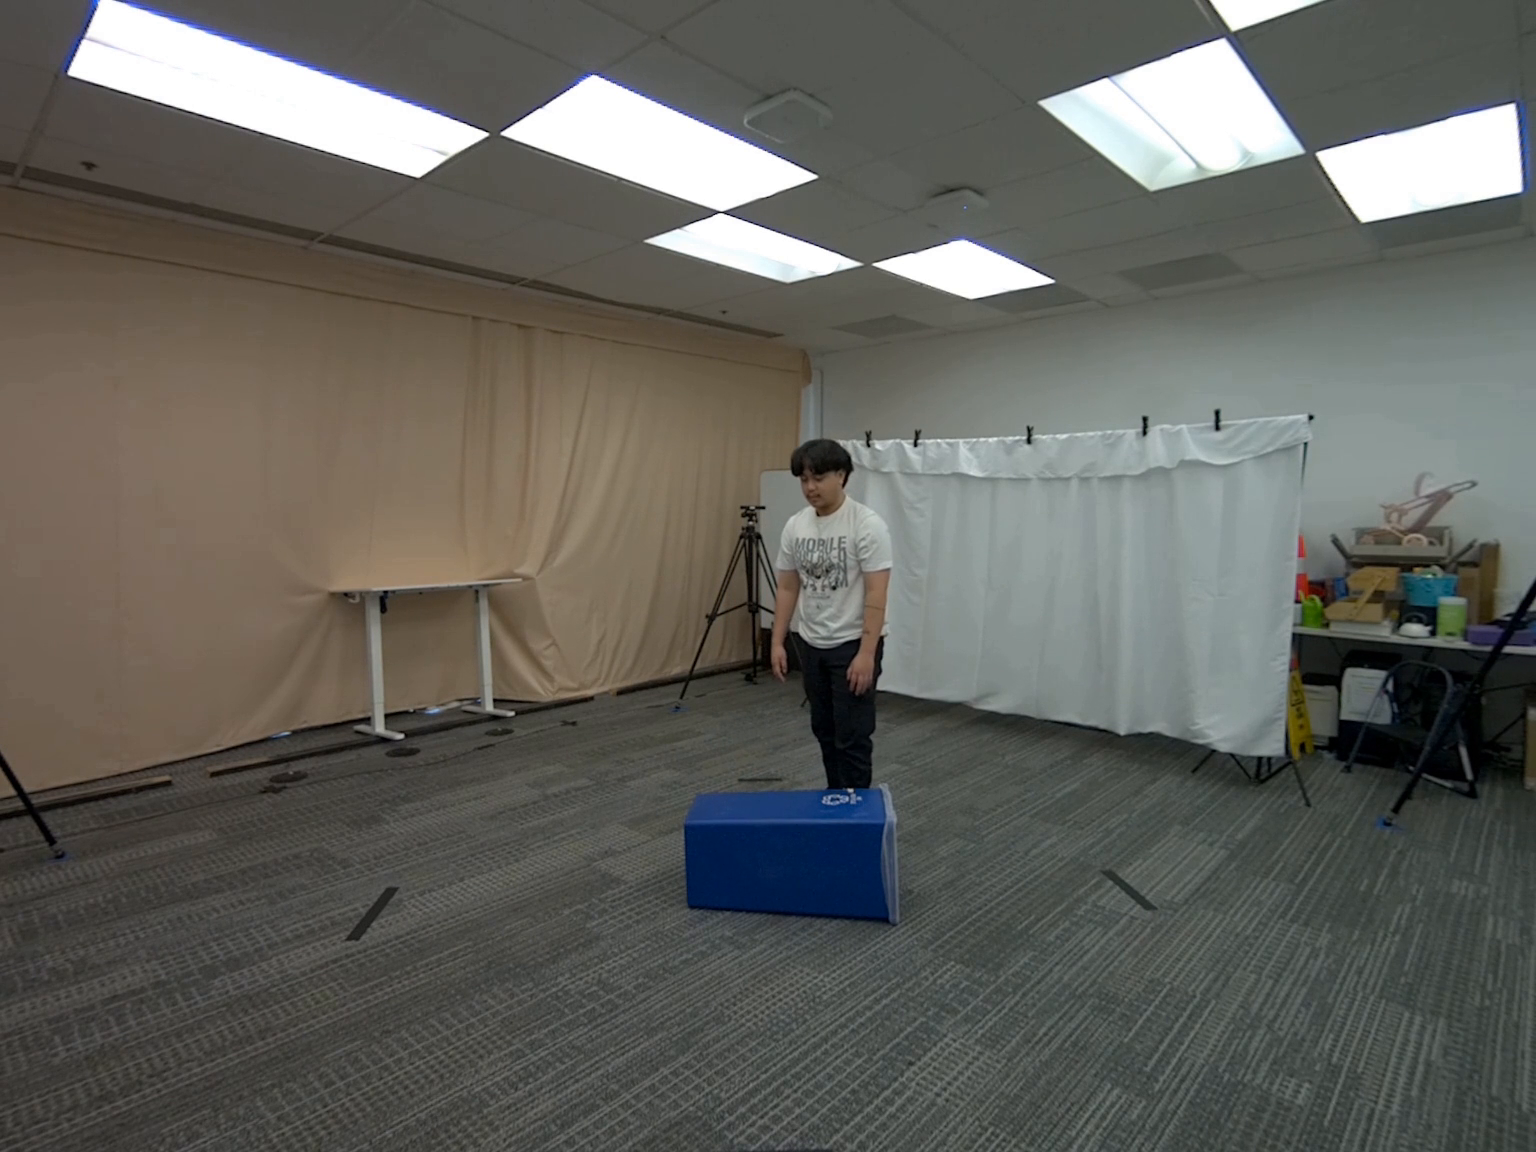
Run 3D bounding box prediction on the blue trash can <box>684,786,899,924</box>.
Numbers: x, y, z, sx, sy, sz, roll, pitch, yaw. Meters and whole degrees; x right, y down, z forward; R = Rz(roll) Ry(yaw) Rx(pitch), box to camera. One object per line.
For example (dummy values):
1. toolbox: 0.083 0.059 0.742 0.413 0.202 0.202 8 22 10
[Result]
1. blue trash can: 0.082 0.977 2.990 0.719 0.377 0.372 -2 4 7
